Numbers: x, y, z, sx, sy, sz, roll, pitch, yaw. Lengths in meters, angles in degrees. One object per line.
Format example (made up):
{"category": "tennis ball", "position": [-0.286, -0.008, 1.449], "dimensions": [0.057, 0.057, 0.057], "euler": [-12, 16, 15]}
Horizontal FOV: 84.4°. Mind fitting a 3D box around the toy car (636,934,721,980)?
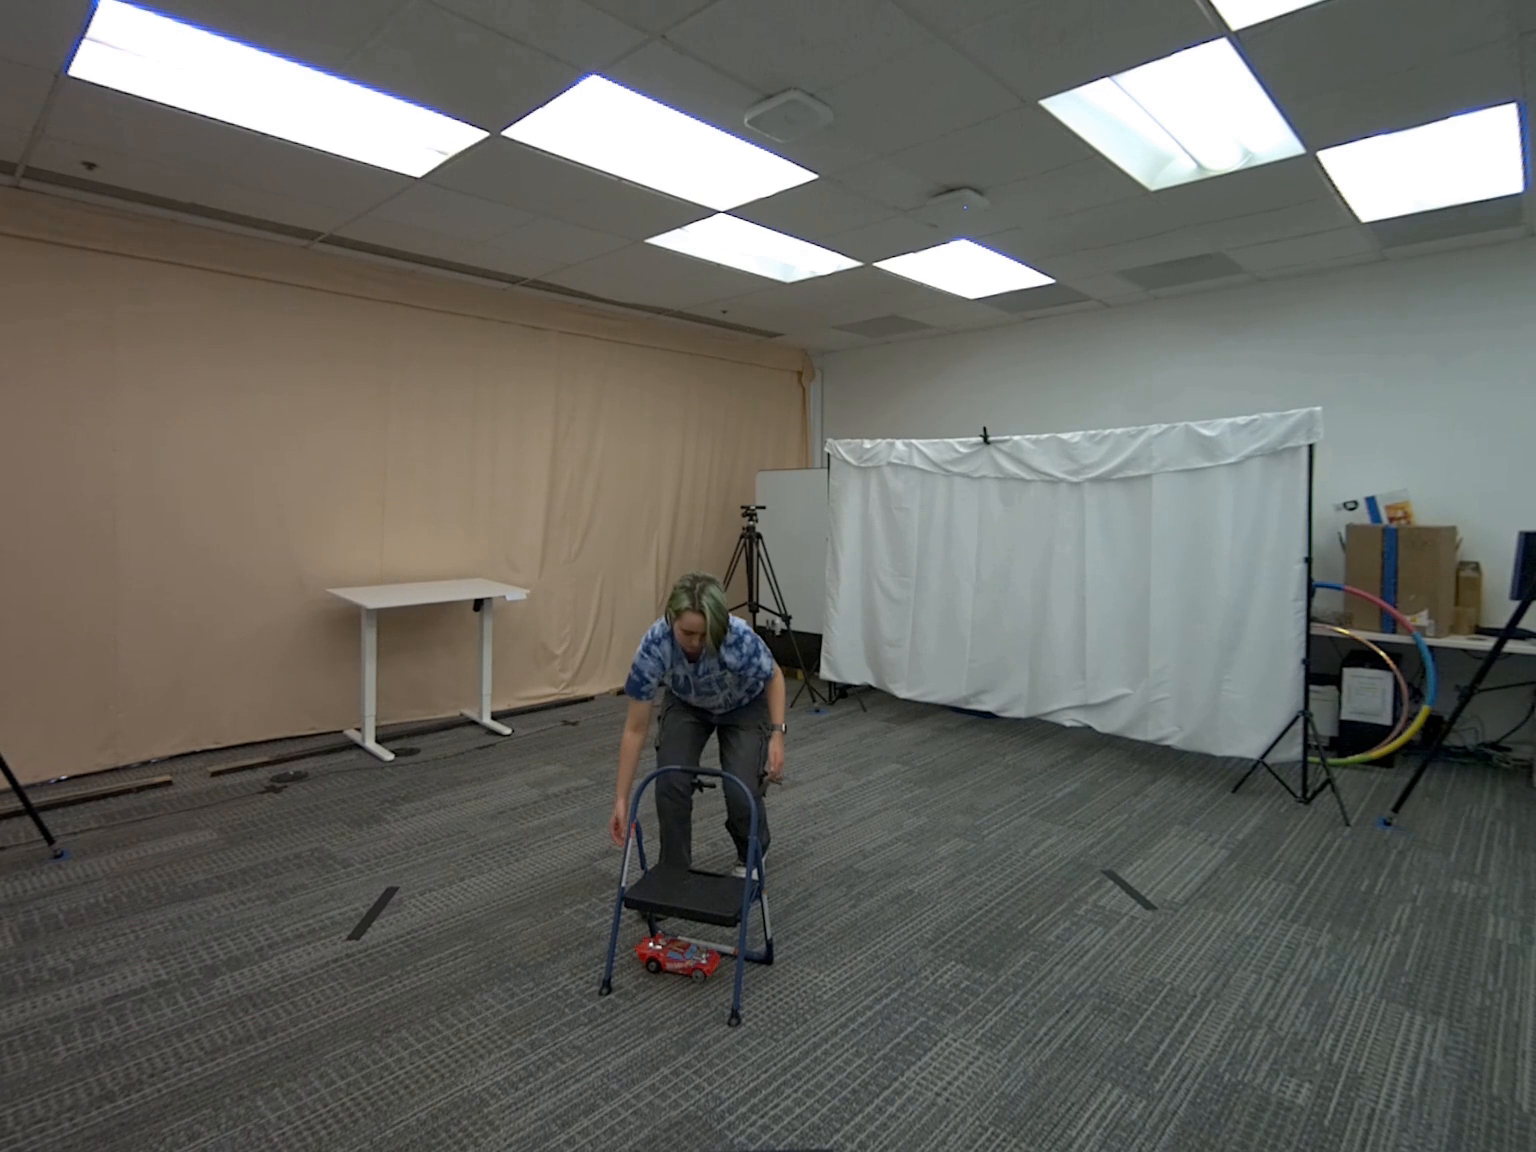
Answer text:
{"category": "toy car", "position": [-0.271, 1.152, 2.536], "dimensions": [0.260, 0.083, 0.128], "euler": [13, 10, 20]}
